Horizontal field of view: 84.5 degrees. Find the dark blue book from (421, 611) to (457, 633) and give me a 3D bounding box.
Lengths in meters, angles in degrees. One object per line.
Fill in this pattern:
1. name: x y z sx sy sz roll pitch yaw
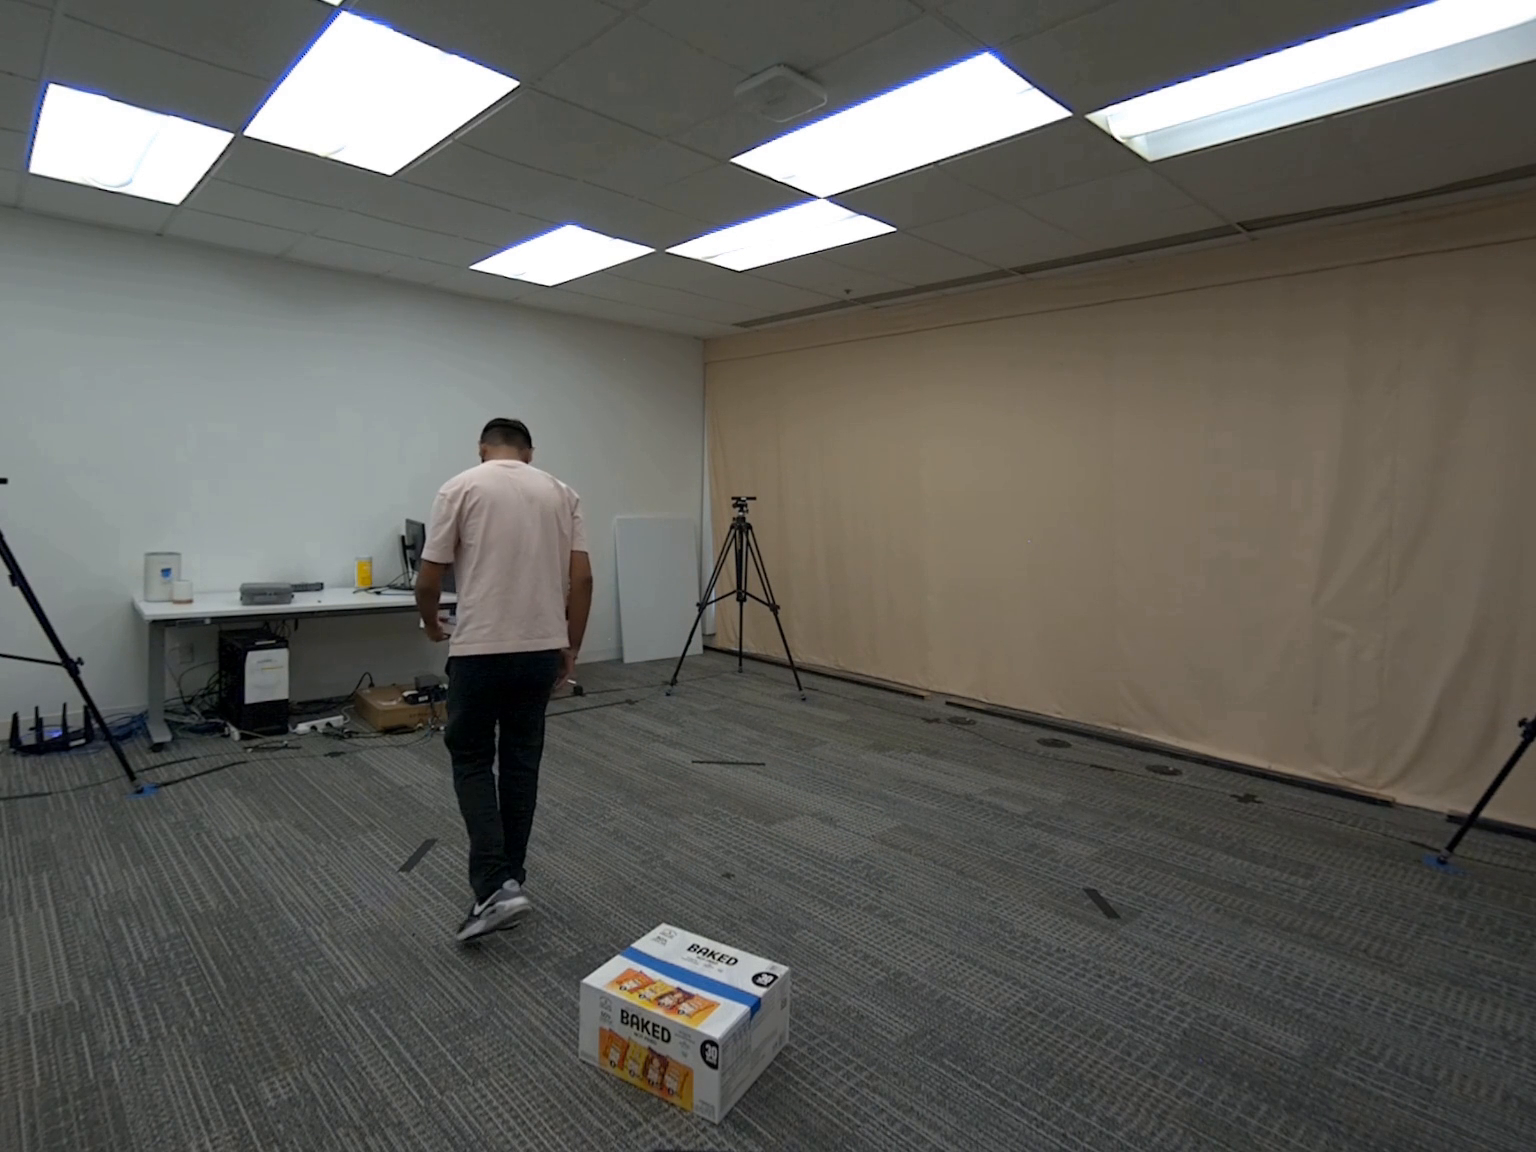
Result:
1. dark blue book: -1.135 0.190 3.036 0.250 0.045 0.160 8 2 27
